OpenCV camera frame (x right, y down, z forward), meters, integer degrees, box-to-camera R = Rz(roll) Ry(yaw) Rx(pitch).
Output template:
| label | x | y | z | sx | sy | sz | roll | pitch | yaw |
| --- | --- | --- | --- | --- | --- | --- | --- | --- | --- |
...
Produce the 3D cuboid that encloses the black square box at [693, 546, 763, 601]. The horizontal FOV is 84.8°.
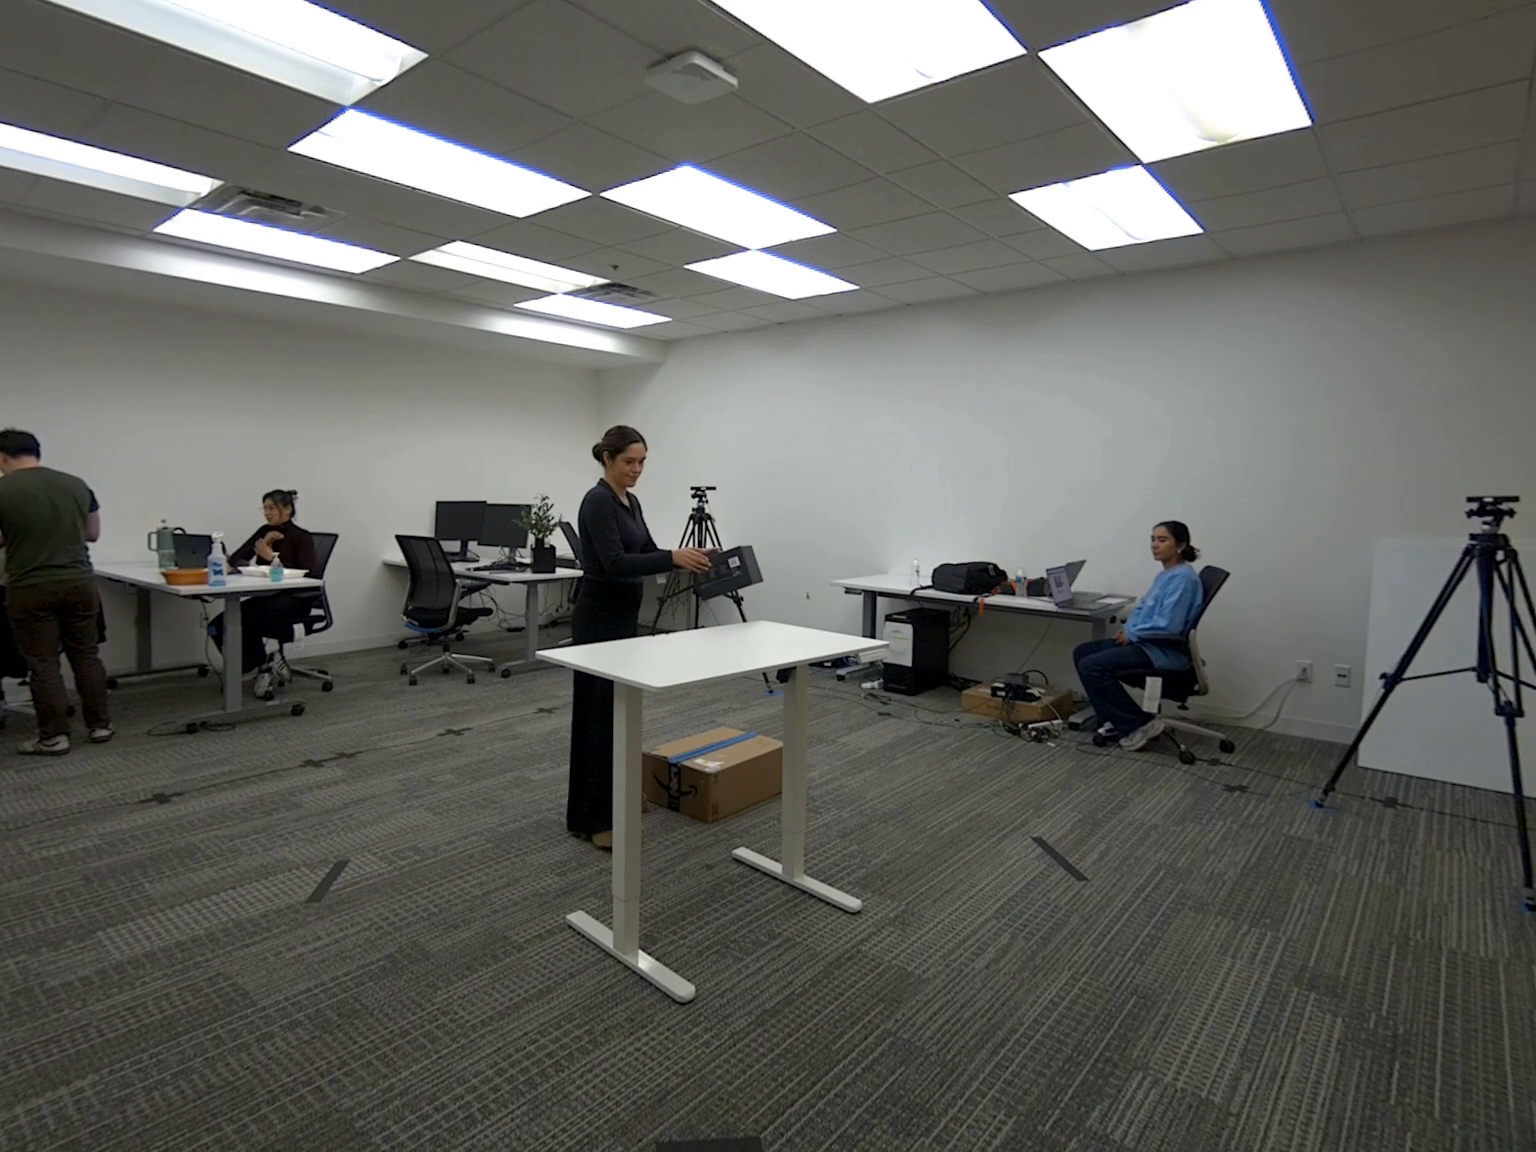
| label | x | y | z | sx | sy | sz | roll | pitch | yaw |
| --- | --- | --- | --- | --- | --- | --- | --- | --- | --- |
| black square box | -0.181 | -0.016 | 3.370 | 0.219 | 0.156 | 0.225 | -17 | -1 | 11 |
